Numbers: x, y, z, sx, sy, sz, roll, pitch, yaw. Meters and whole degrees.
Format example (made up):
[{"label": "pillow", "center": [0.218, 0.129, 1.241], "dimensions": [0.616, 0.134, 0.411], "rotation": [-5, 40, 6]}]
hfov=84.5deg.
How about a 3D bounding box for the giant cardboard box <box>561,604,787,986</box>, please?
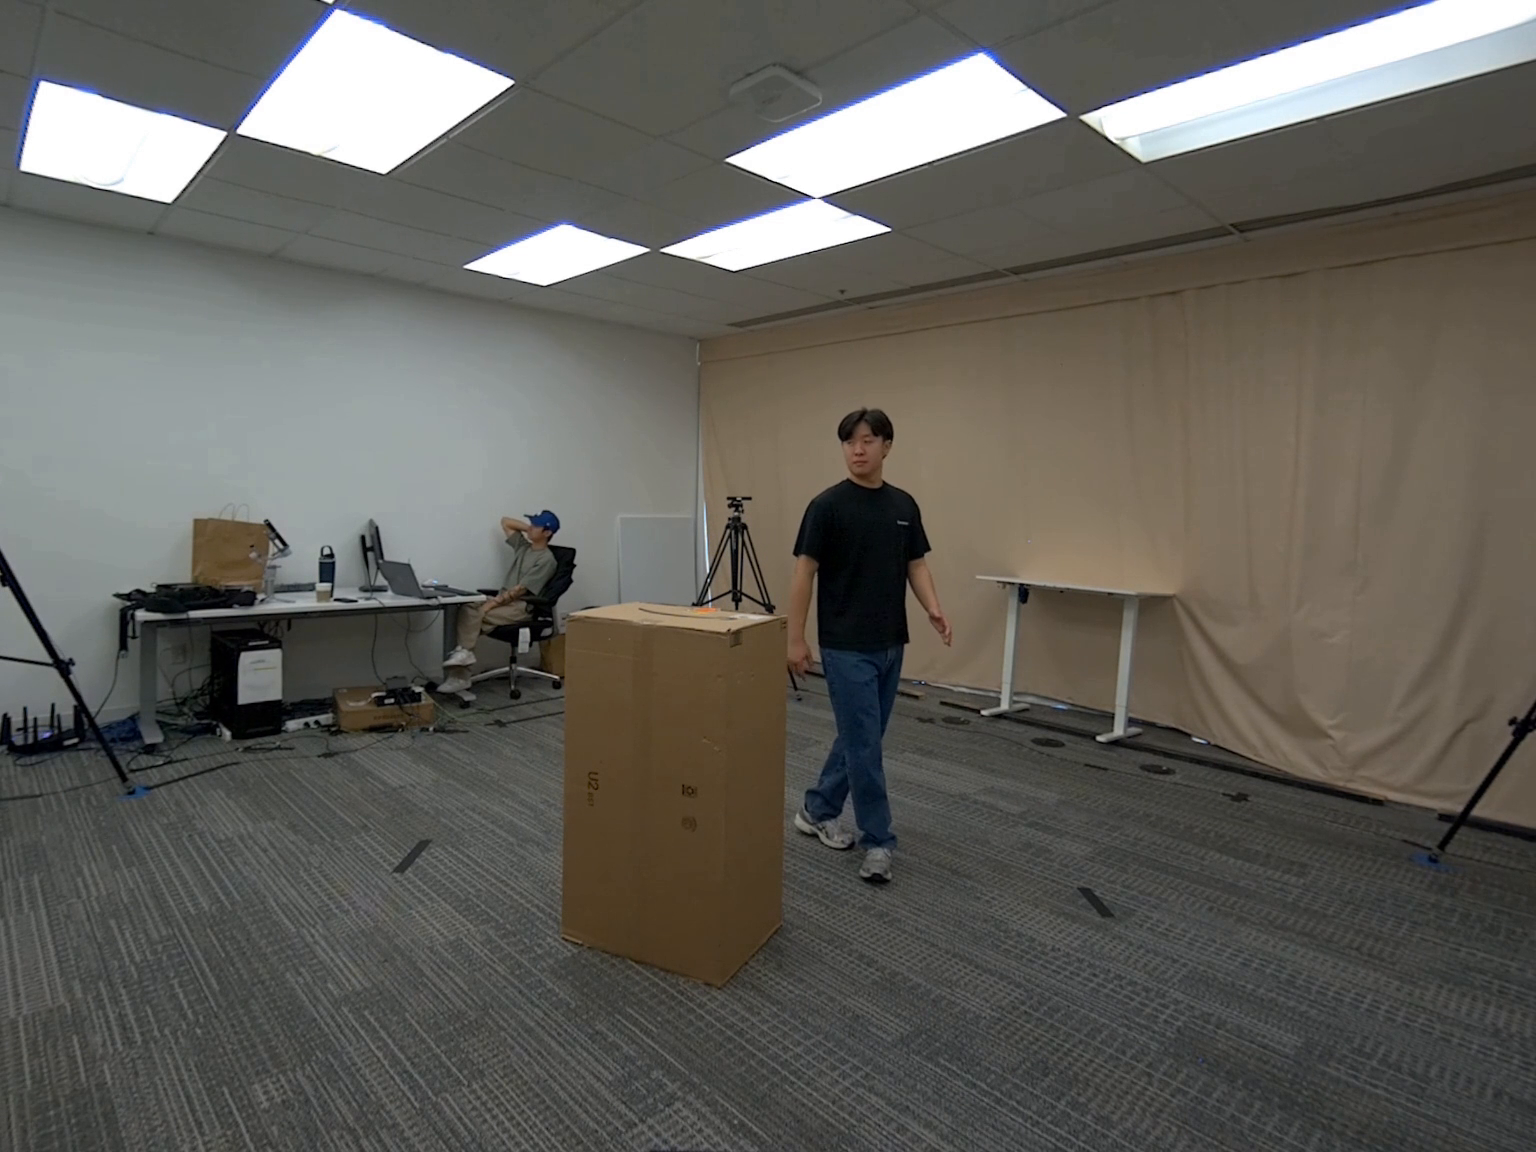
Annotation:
[{"label": "giant cardboard box", "center": [-0.294, 0.631, 2.677], "dimensions": [0.596, 1.025, 0.438], "rotation": [3, 2, 28]}]
